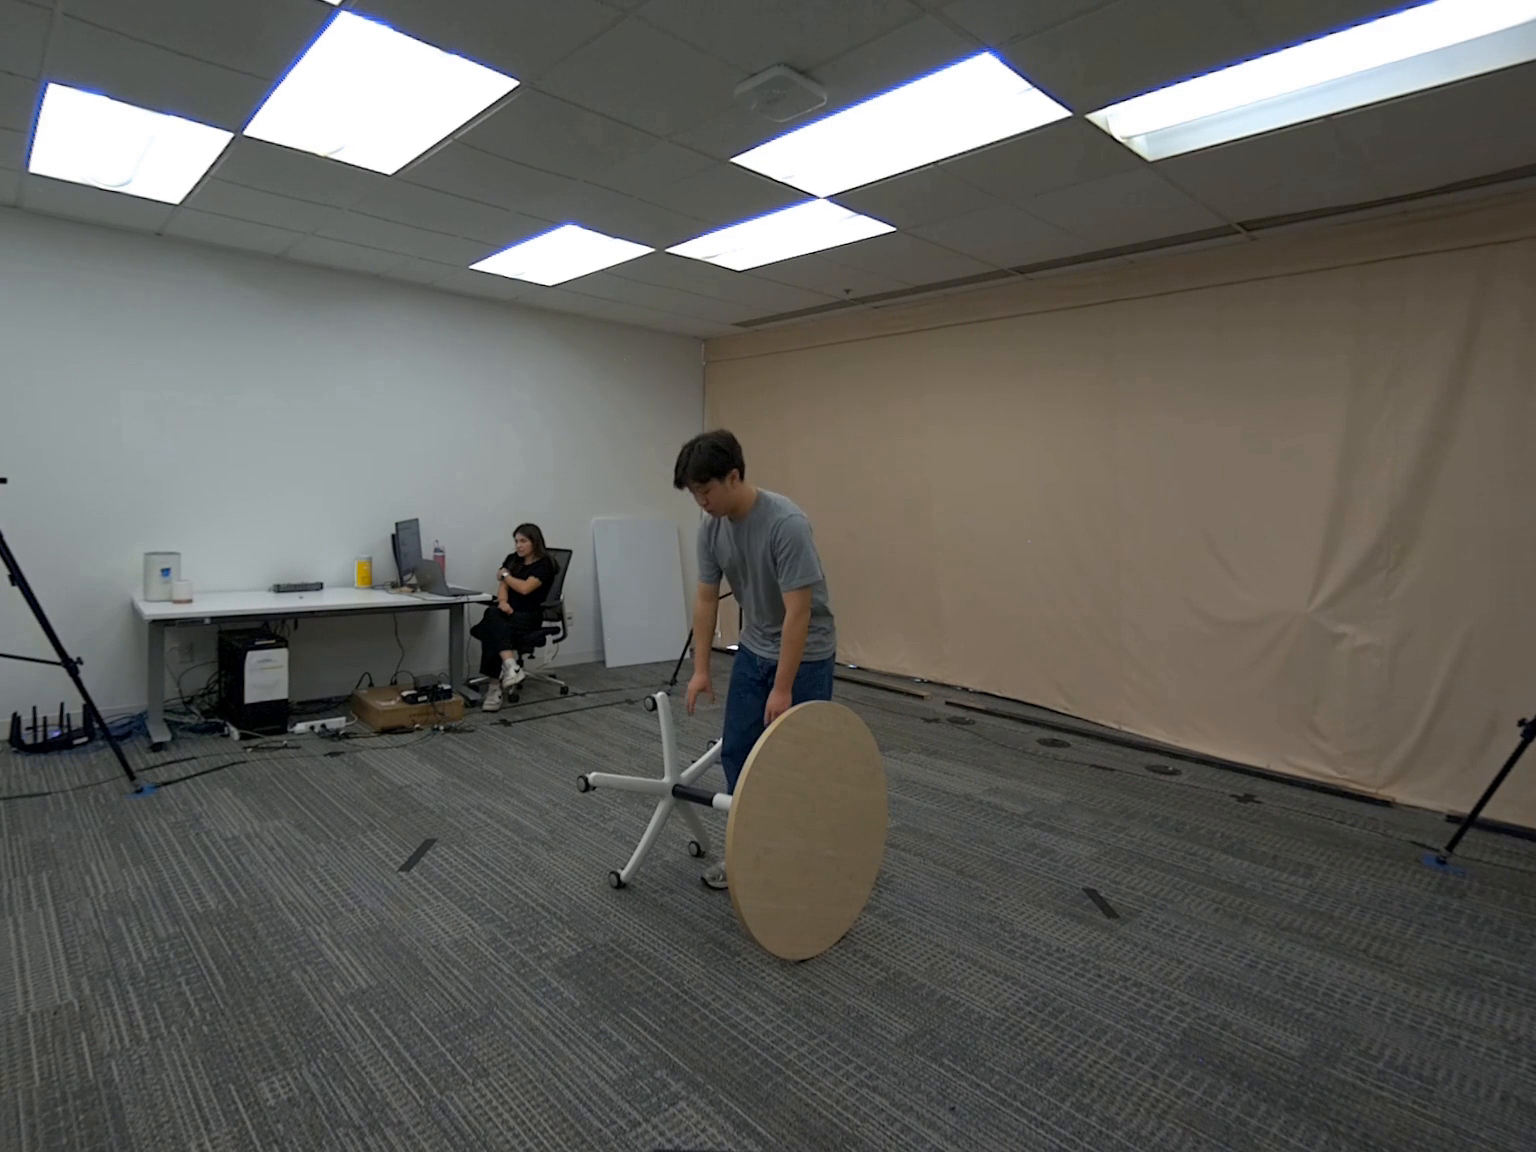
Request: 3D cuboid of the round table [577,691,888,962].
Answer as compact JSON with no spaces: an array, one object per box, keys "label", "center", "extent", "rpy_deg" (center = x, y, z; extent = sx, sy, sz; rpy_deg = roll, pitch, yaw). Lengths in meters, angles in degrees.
[{"label":"round table","center":[-0.152,0.788,2.869],"extent":[0.812,0.764,0.747],"rpy_deg":[-3,0,43]}]
